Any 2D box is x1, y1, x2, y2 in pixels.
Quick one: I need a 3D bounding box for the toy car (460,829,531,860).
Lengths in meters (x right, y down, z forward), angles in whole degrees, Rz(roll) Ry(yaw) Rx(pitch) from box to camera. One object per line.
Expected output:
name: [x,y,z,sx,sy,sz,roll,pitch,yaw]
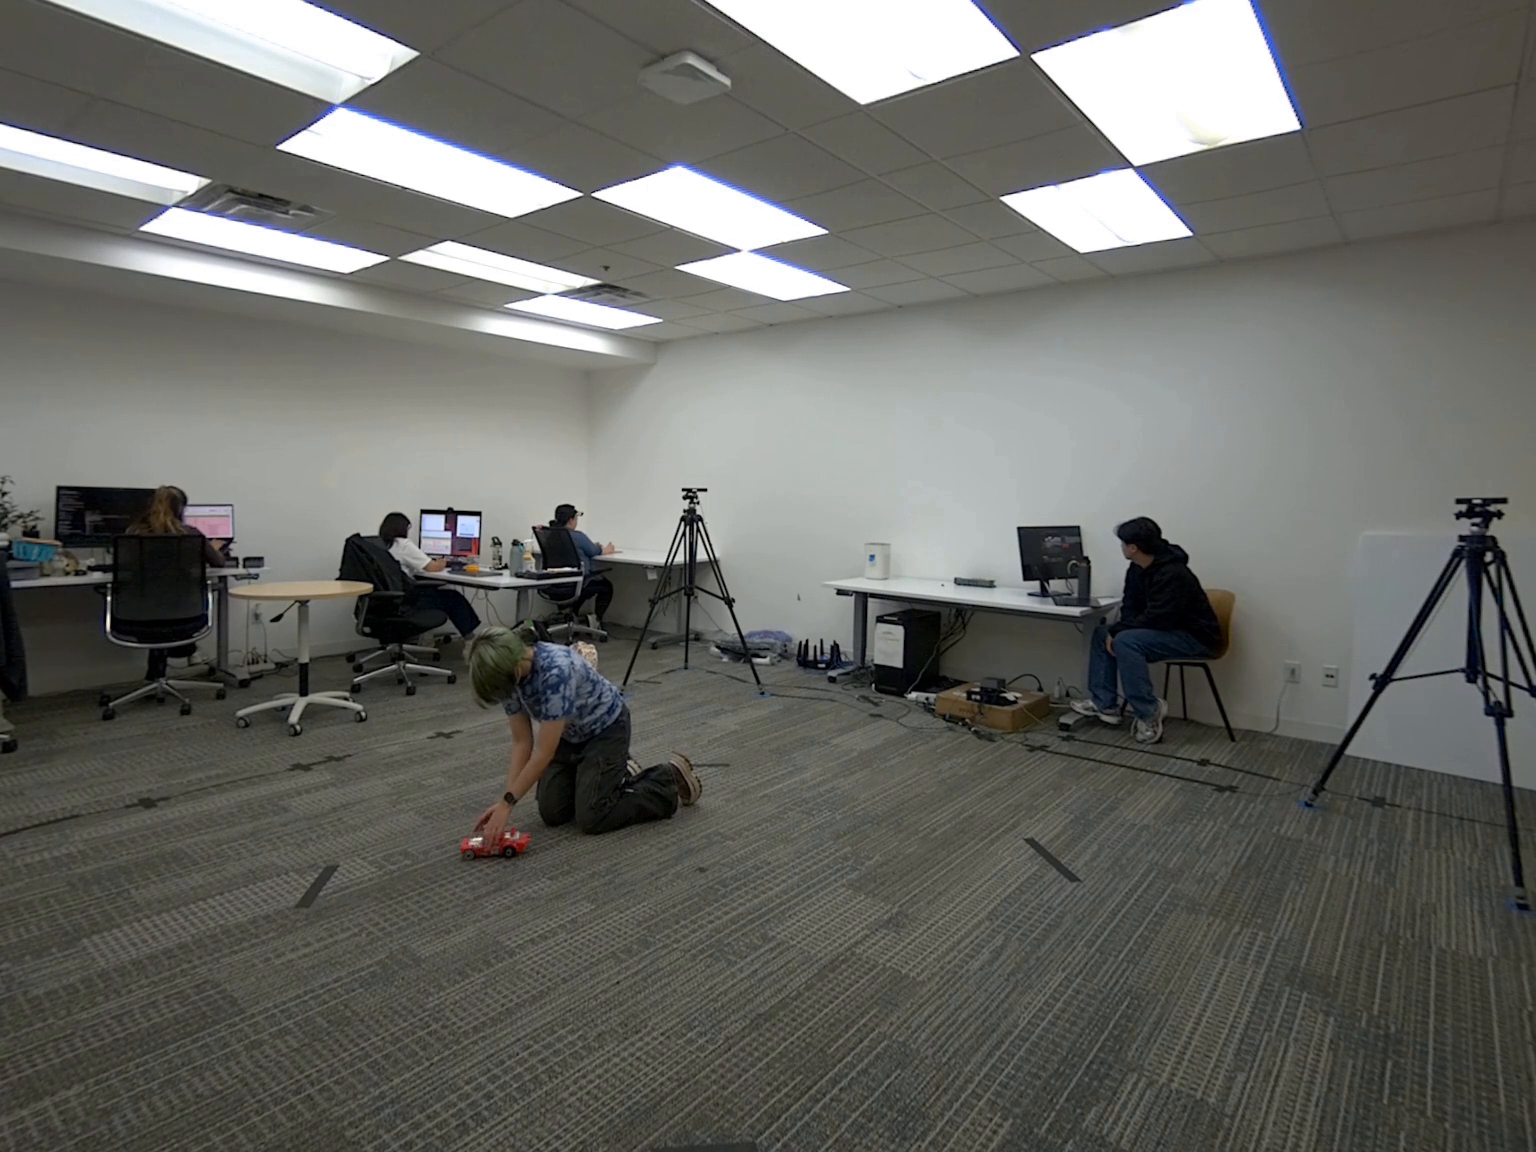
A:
toy car: [-1.048,1.019,3.217,0.253,0.083,0.132,-12,5,-8]
